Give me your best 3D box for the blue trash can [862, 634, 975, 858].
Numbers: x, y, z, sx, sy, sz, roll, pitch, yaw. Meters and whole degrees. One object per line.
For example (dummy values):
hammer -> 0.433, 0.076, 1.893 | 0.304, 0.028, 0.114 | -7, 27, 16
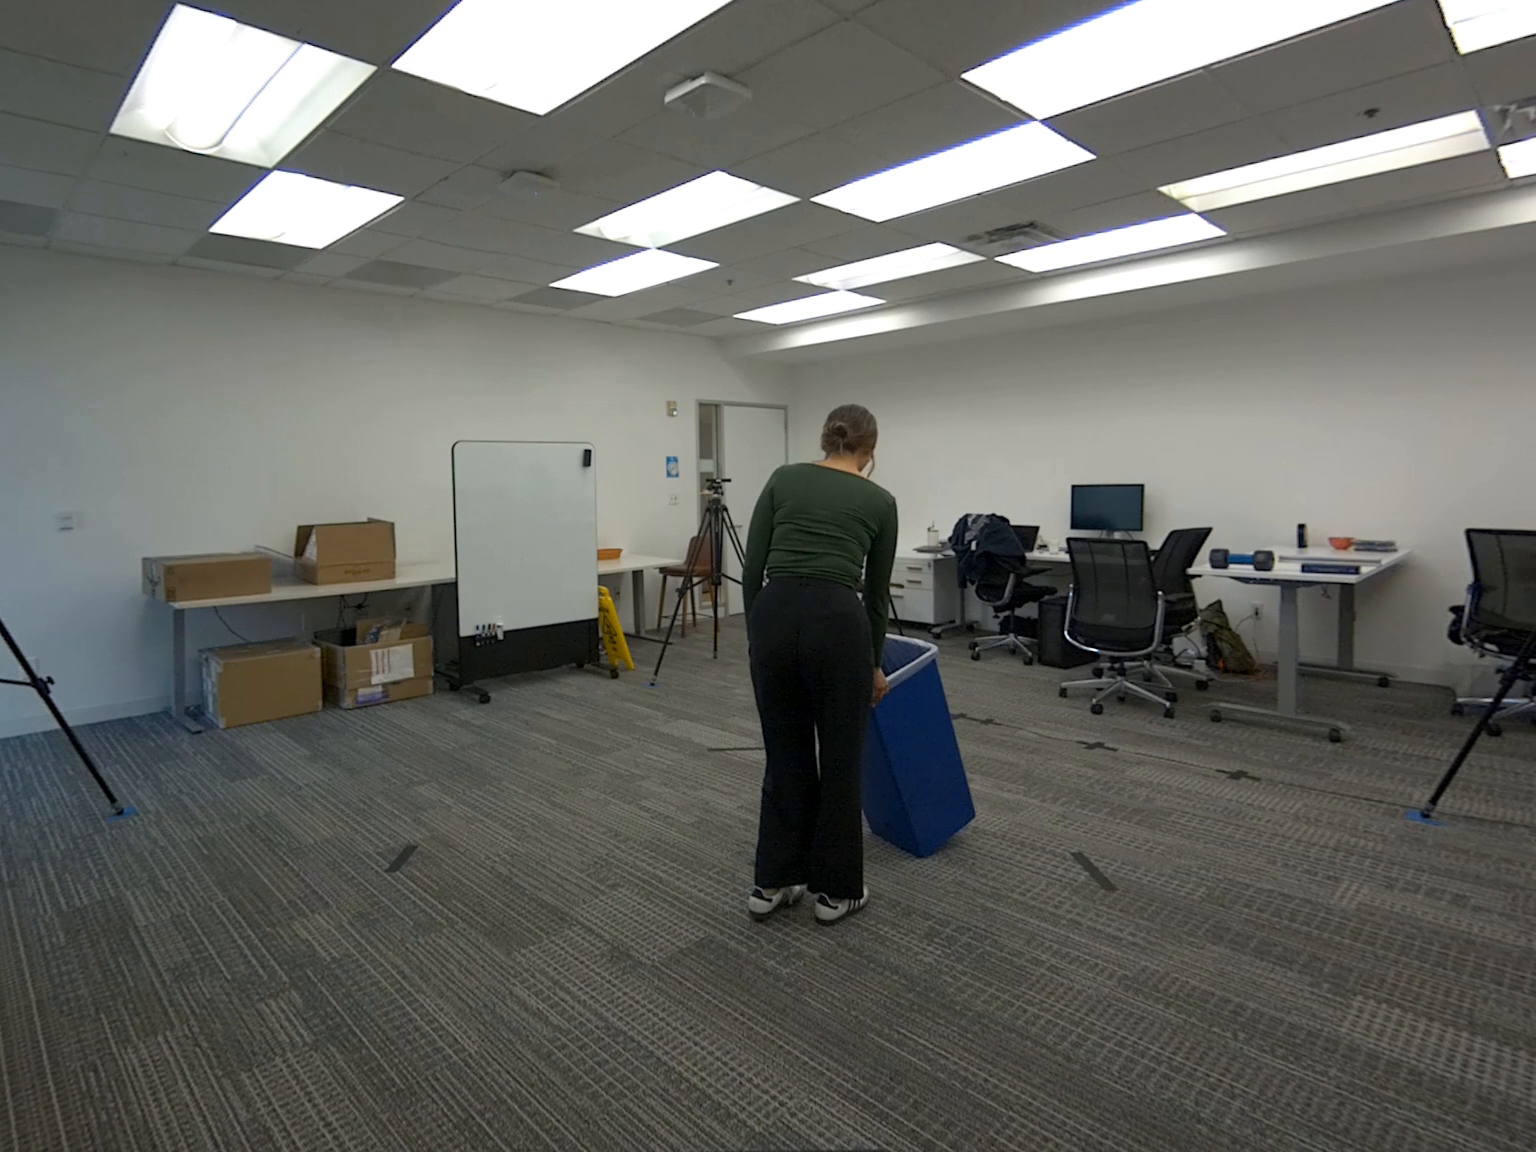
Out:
blue trash can -> 0.490, 0.631, 3.234 | 0.370, 0.702, 0.388 | -26, 16, -28
